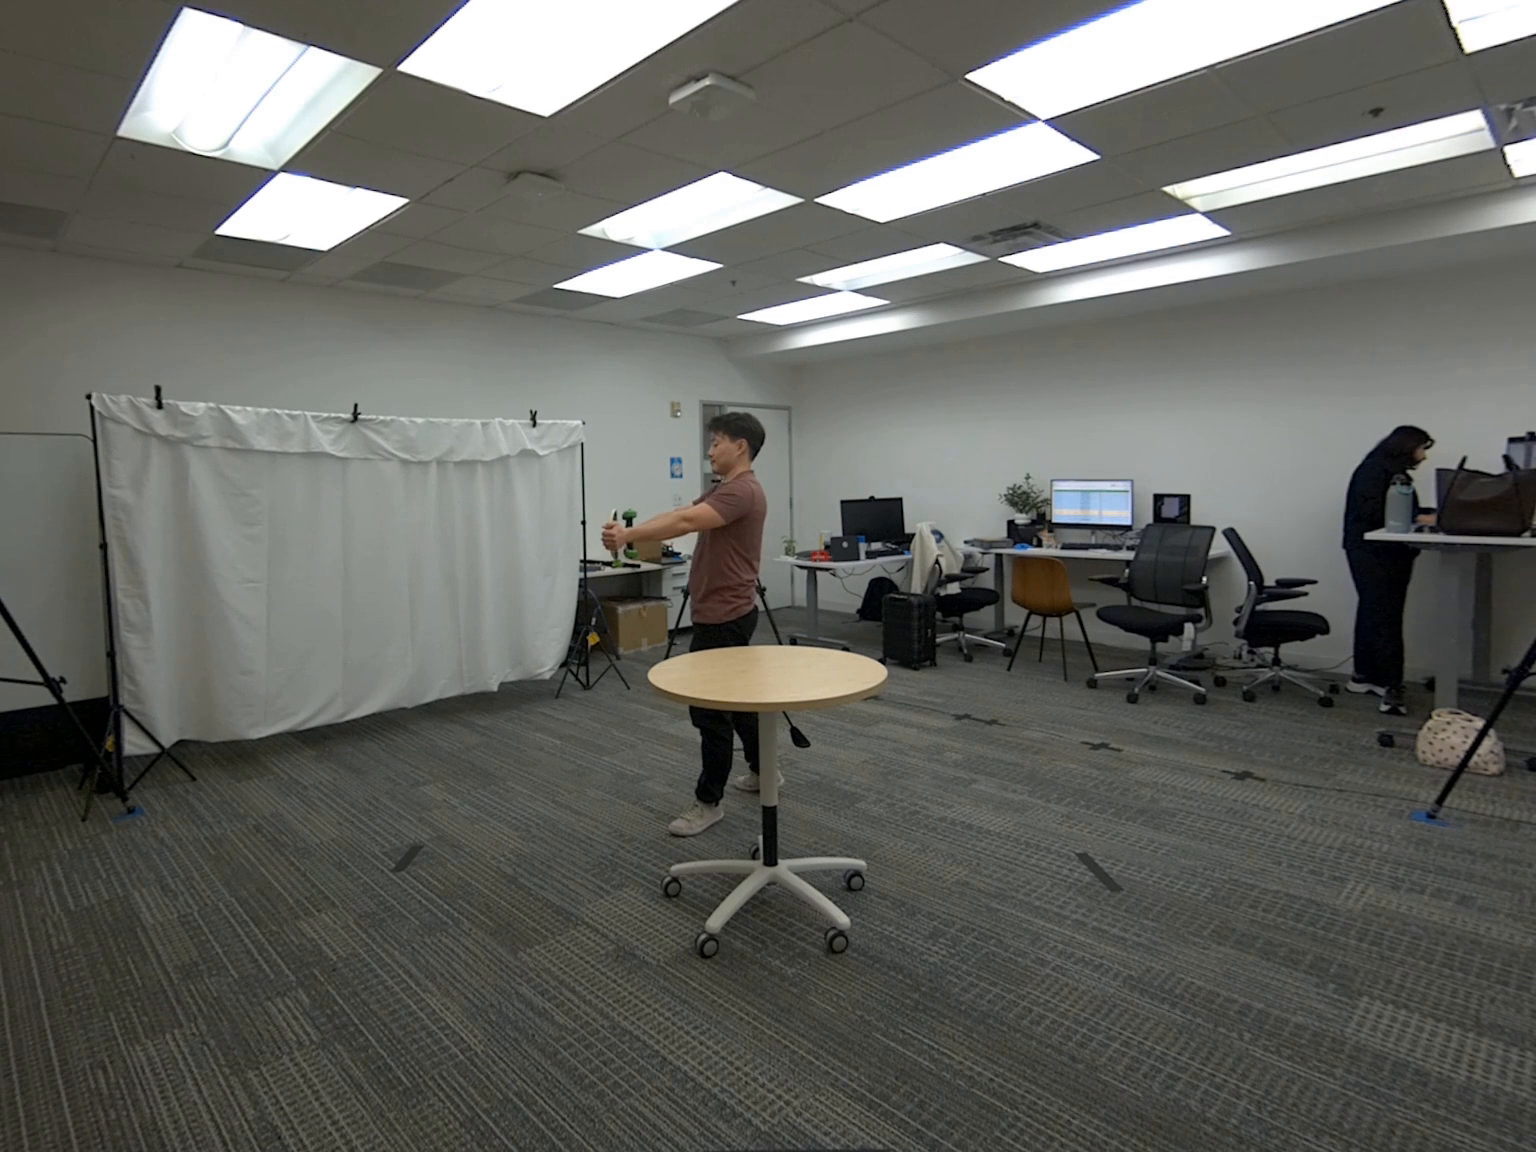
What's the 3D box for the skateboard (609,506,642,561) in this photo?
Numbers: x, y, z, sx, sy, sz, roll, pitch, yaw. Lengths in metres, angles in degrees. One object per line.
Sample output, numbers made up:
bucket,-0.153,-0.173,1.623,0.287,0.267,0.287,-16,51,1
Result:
skateboard,-0.586,-0.170,3.491,0.109,0.193,0.792,-2,2,-10
